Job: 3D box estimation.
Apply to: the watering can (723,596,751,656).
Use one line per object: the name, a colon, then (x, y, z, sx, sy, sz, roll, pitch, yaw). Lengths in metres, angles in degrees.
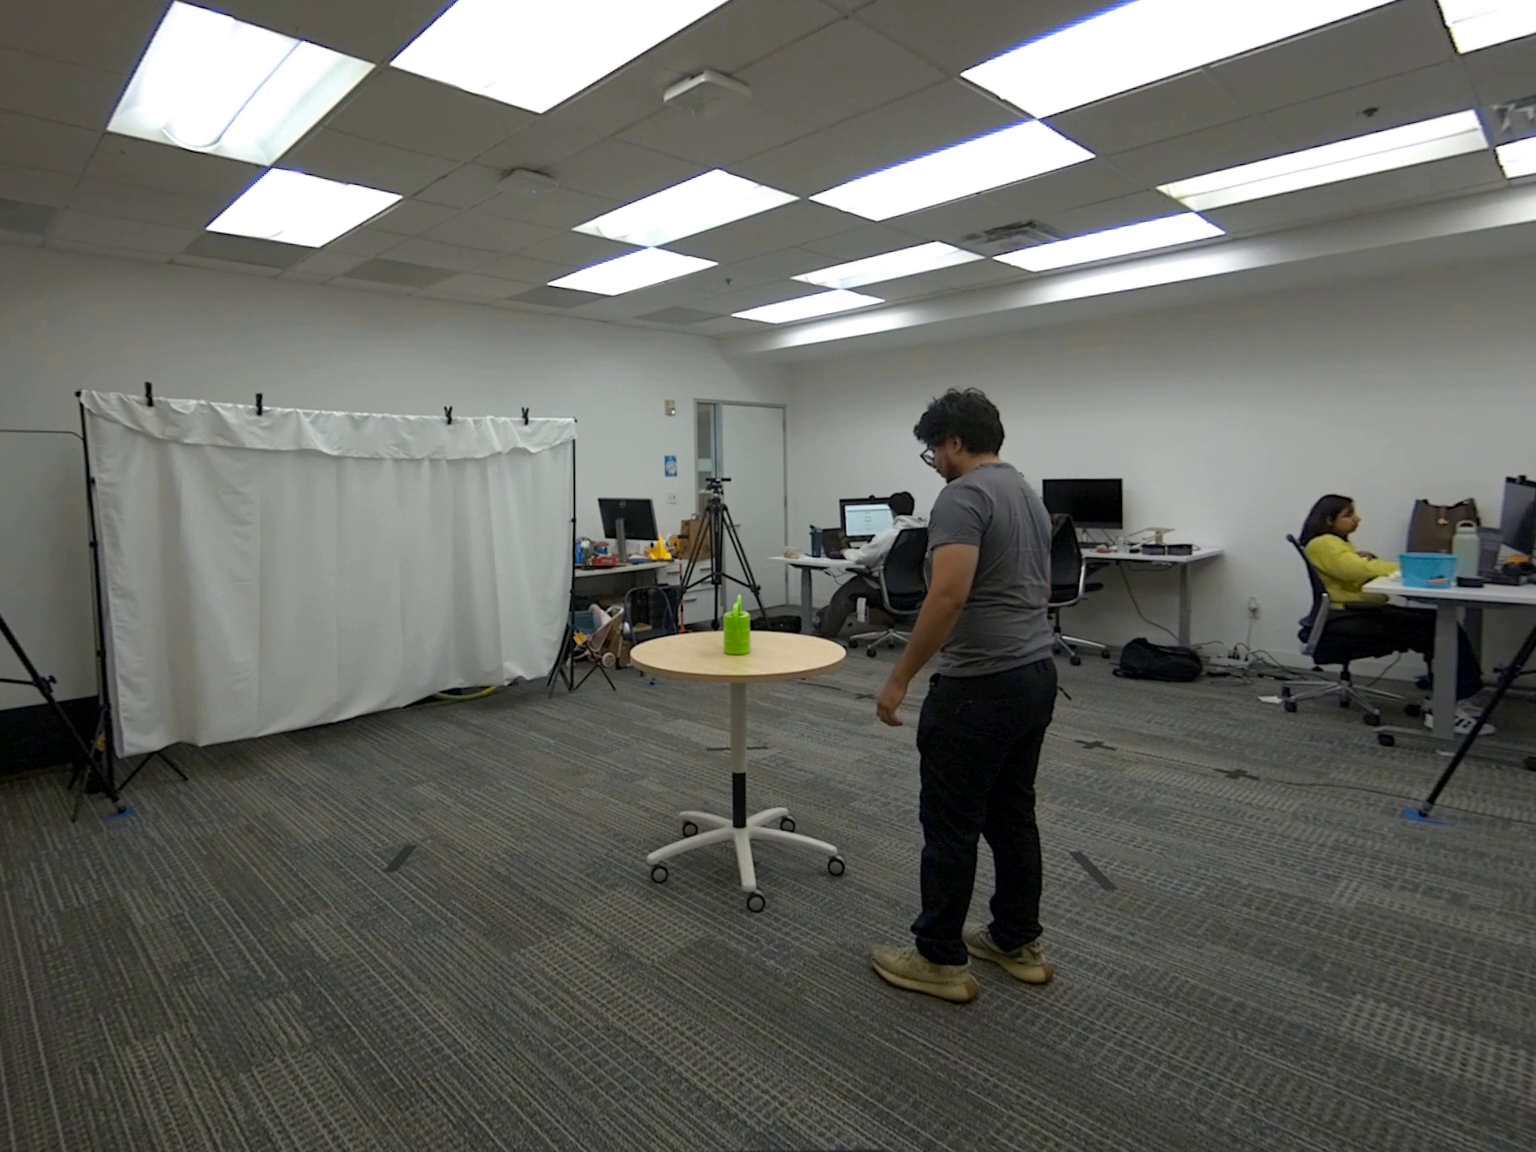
watering can: (-0.089, 0.181, 3.064, 0.100, 0.176, 0.274, 1, 6, 20)
